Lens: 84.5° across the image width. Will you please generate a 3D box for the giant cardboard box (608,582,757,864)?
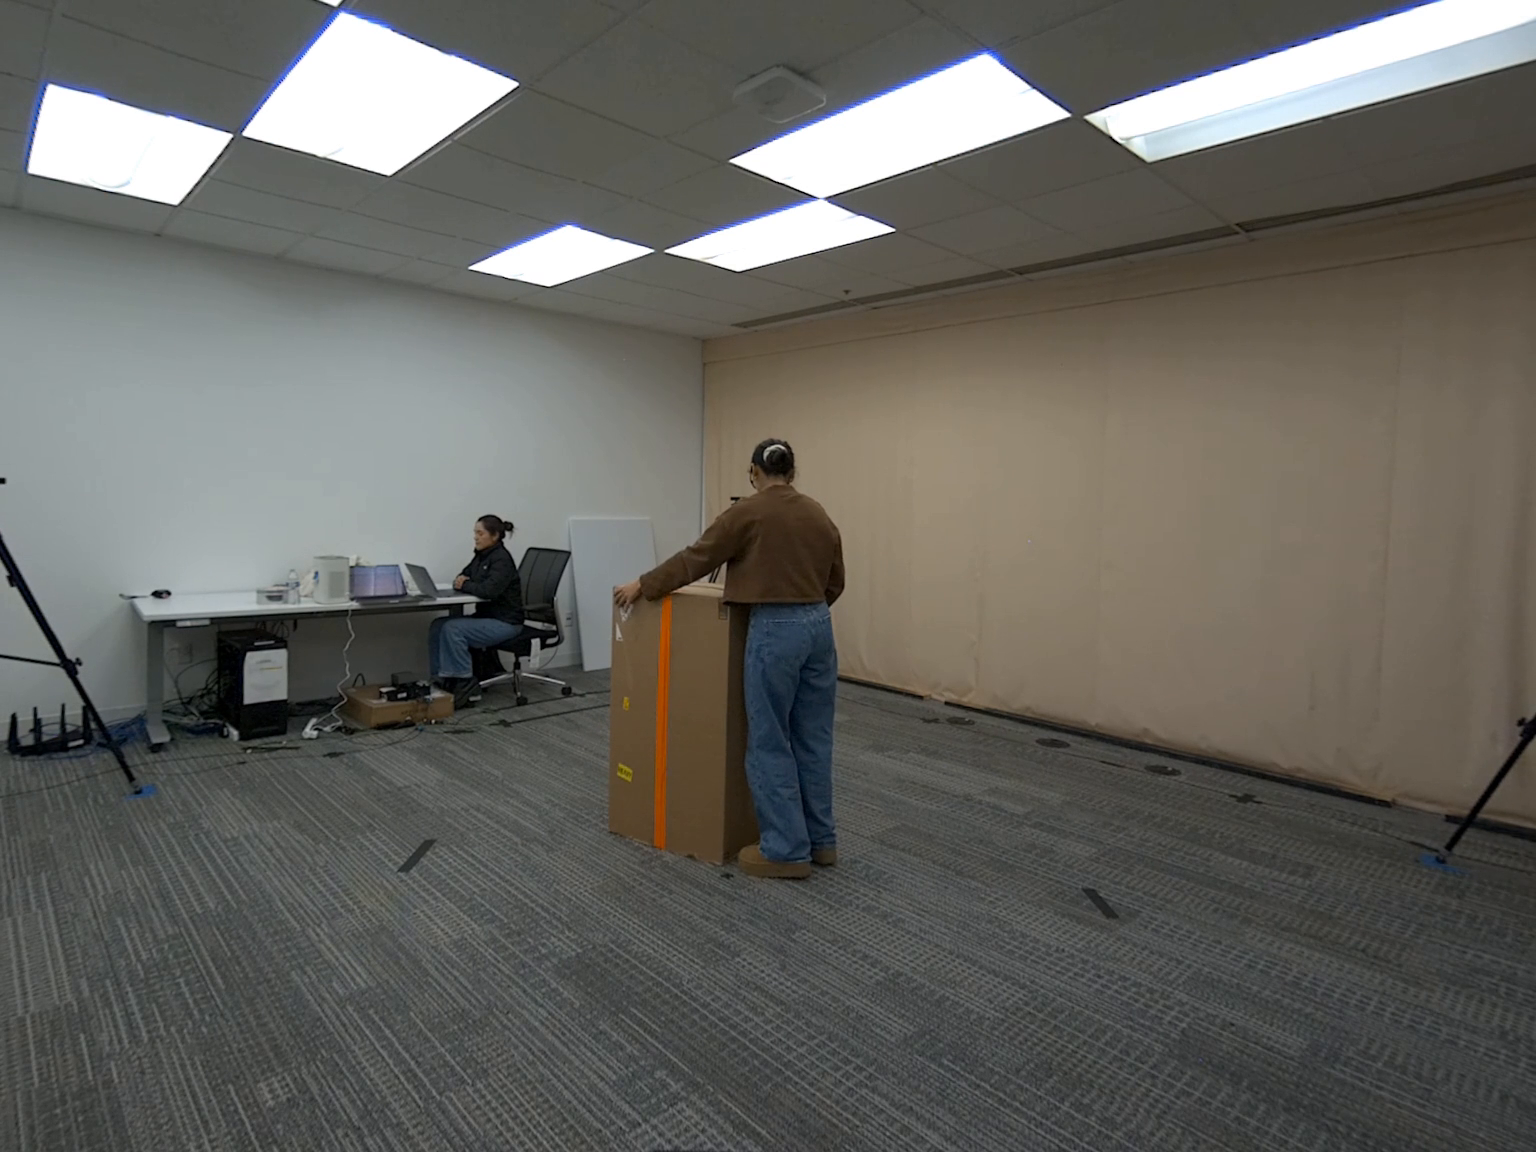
[{"bbox_3d":[-0.304,0.561,3.489,0.591,1.023,0.417,4,4,33],"label":"giant cardboard box"}]
